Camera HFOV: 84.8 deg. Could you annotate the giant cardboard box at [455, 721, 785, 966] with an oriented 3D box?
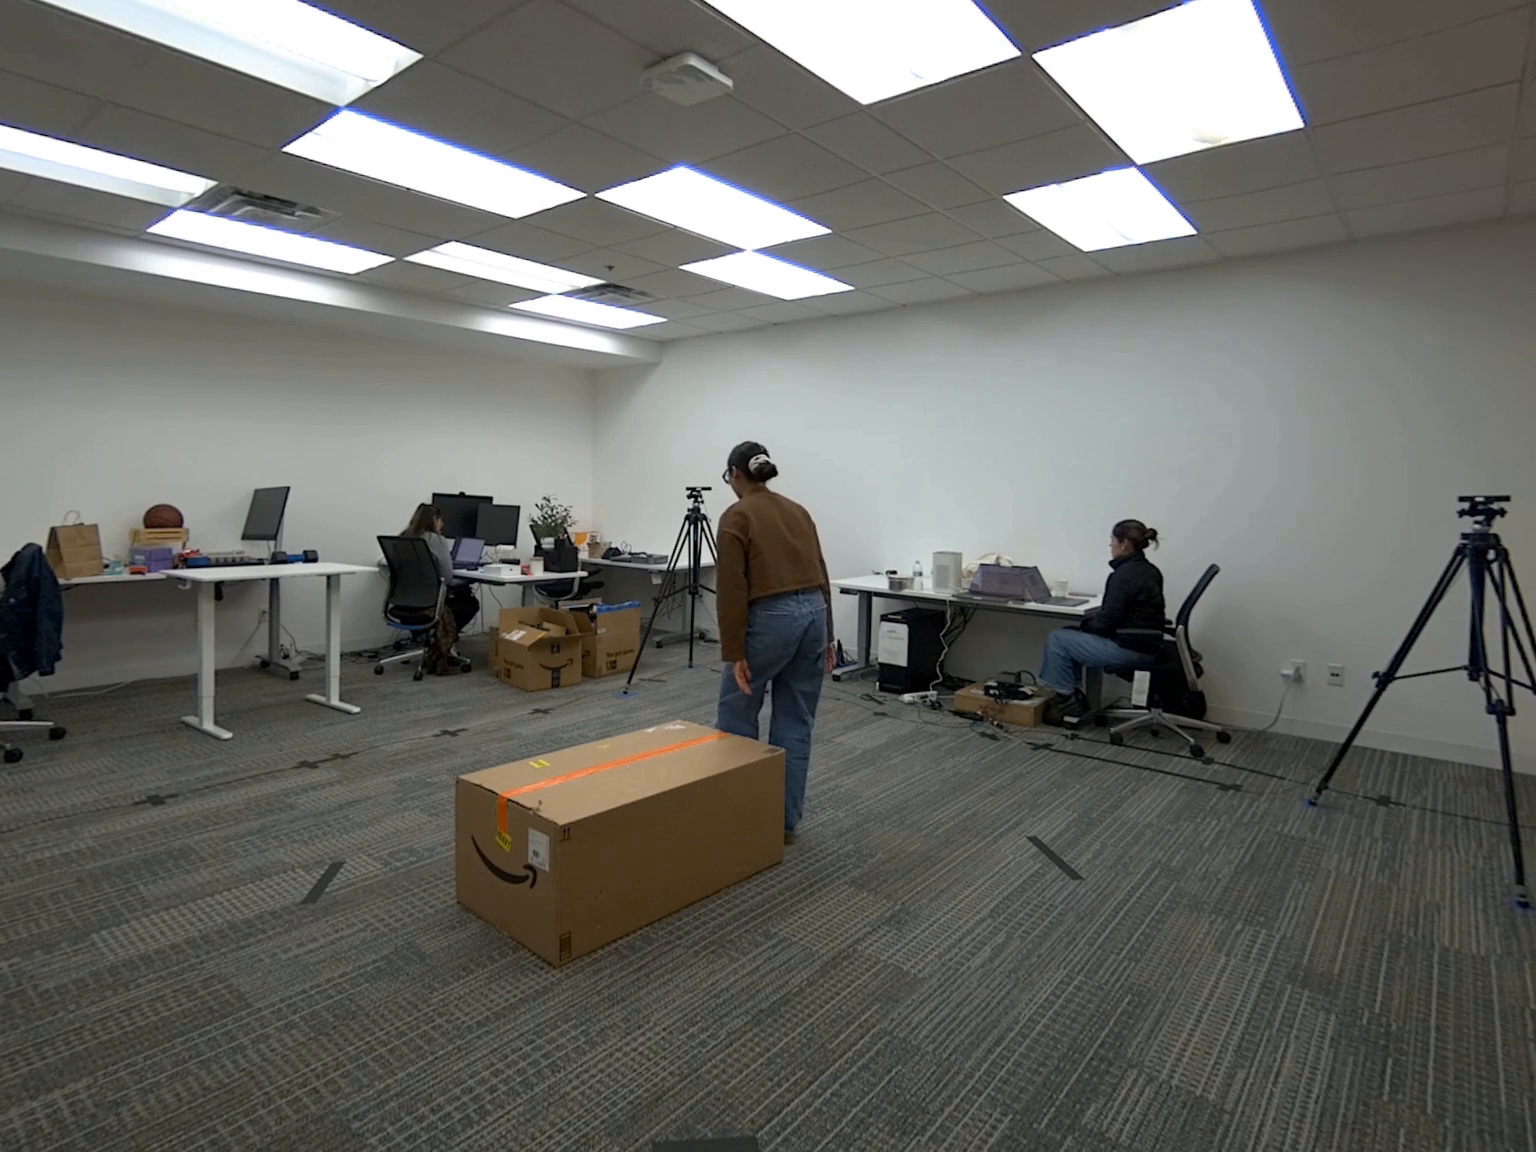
[{"bbox_3d":[-0.503,0.864,2.985,0.604,0.445,0.996,6,7,42],"label":"giant cardboard box"}]
